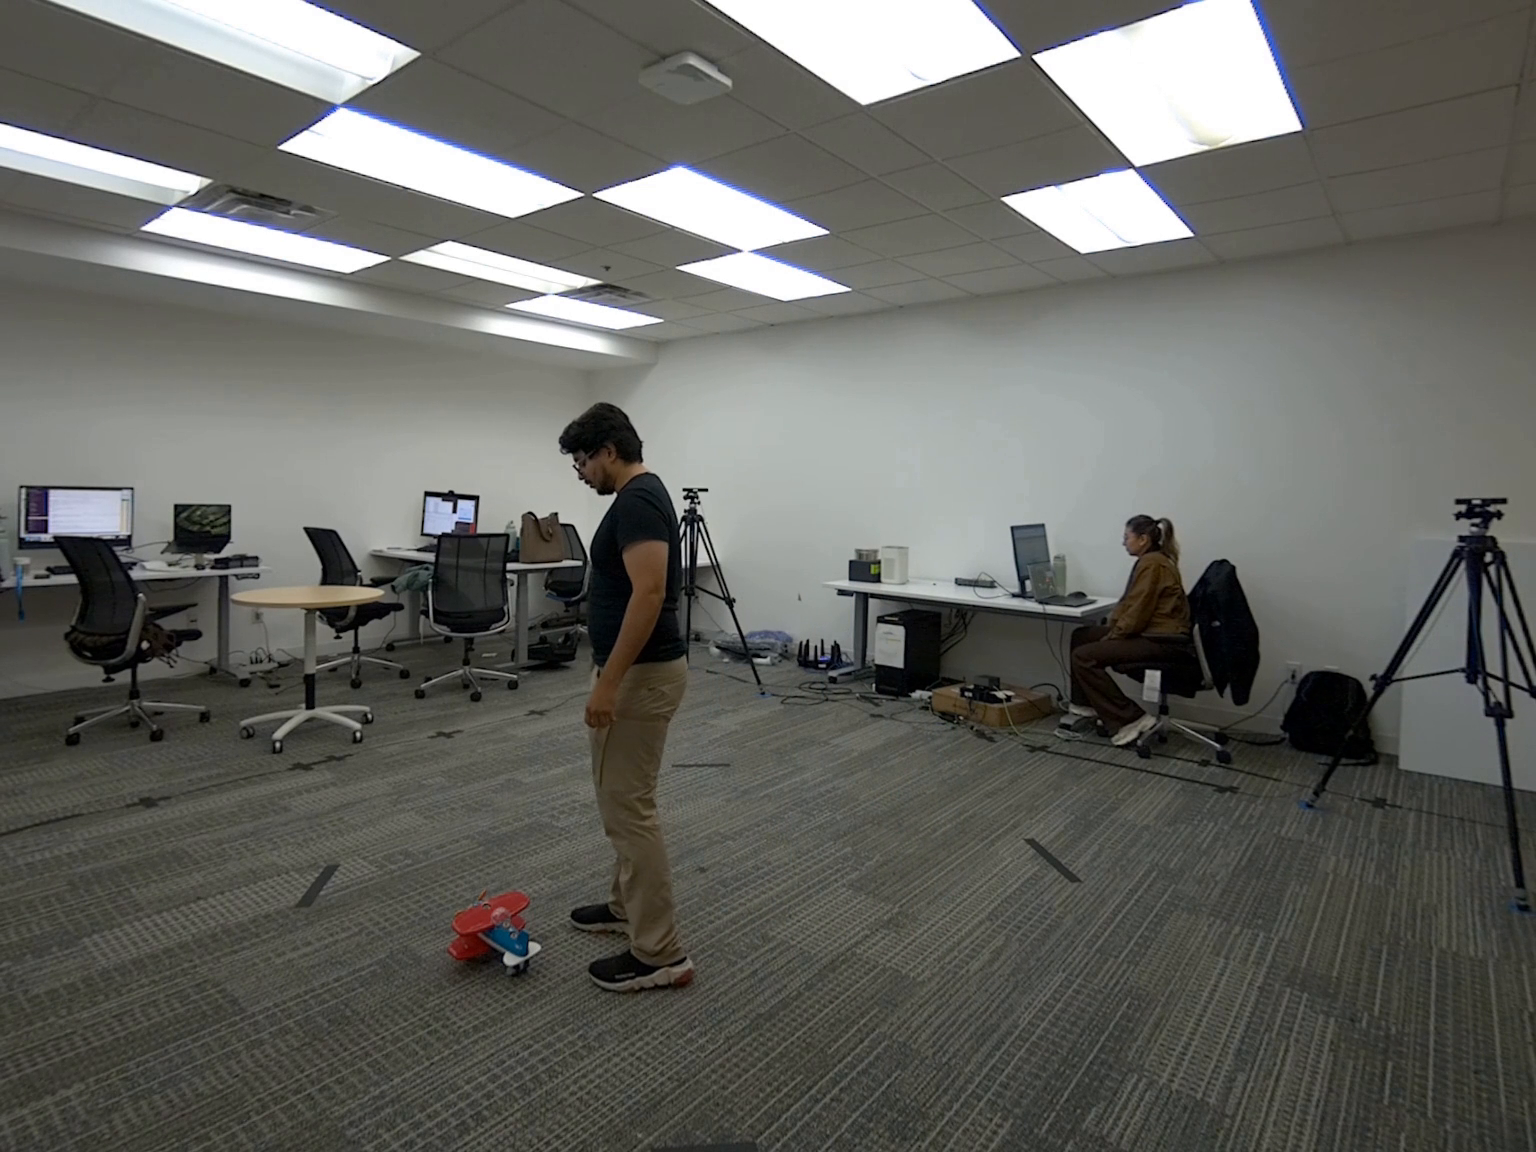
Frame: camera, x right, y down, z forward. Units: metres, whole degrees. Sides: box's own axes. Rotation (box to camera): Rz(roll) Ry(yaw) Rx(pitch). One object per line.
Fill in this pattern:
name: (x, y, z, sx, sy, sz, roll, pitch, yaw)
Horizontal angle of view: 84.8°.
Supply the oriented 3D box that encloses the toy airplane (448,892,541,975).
toy airplane: (-0.789, 1.048, 2.500, 0.261, 0.156, 0.250, 0, 5, 6)
